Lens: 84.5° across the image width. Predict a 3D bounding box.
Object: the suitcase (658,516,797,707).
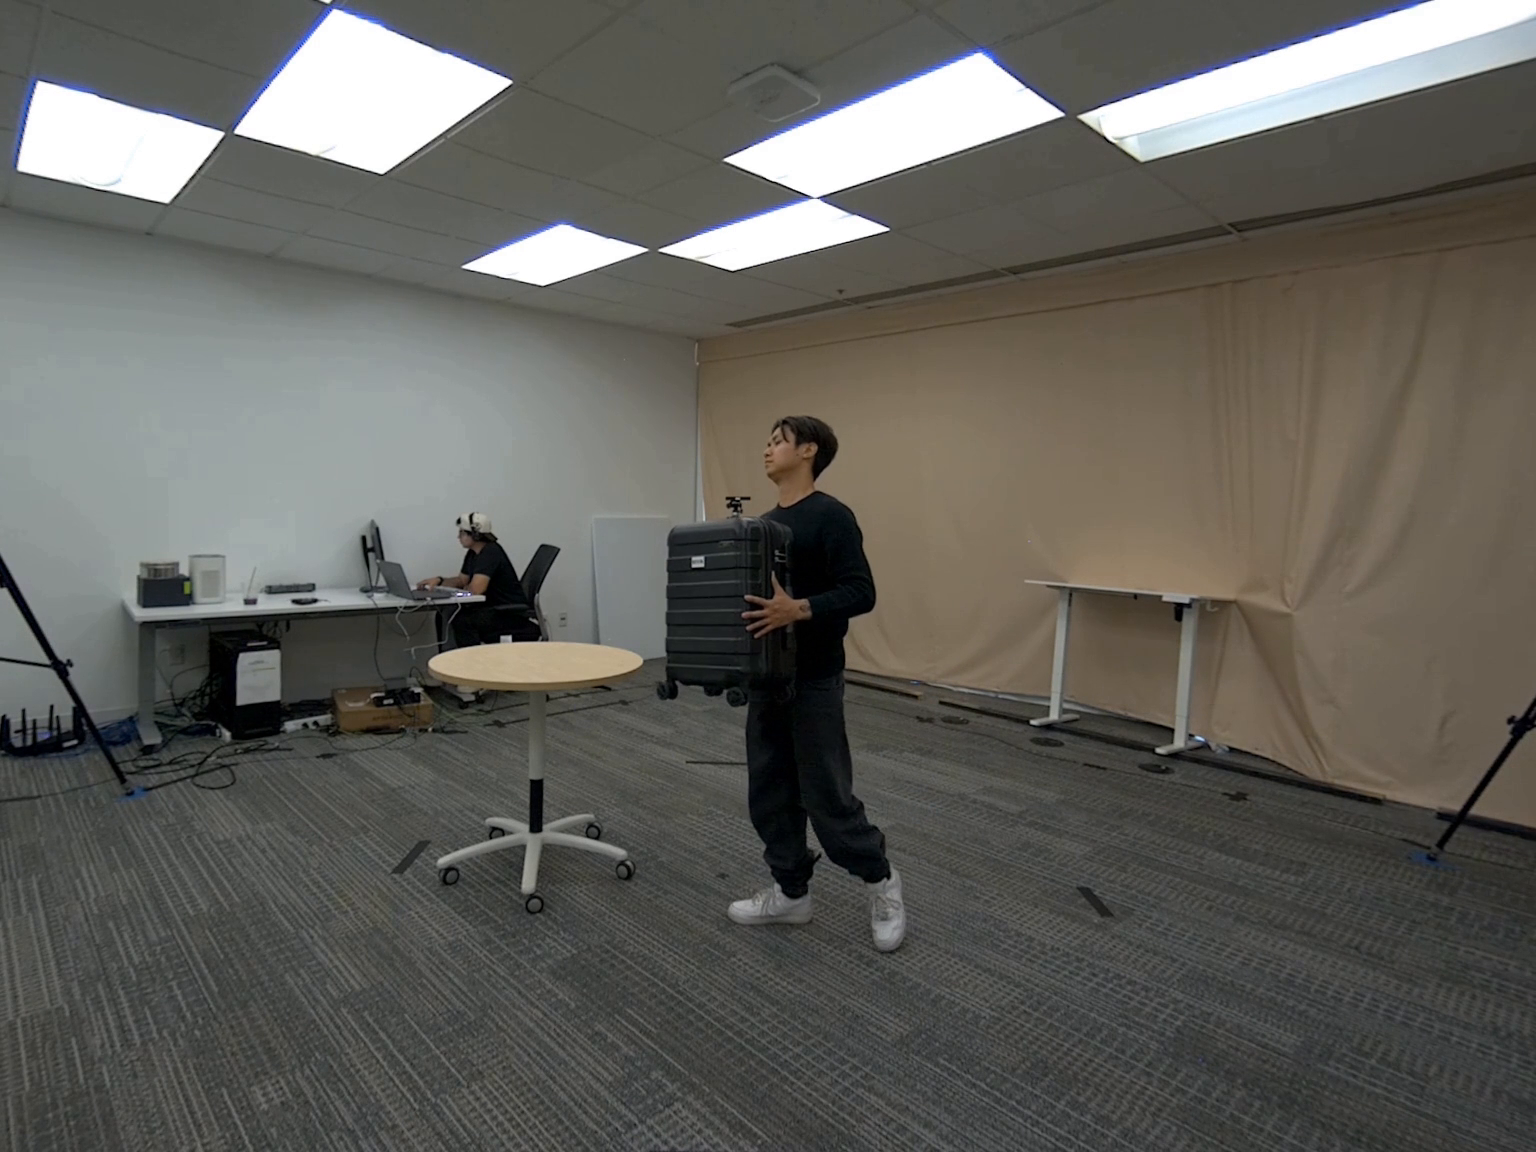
[{"bbox_3d":[-0.118,0.101,2.539,0.384,0.551,0.242,-3,-4,42],"label":"suitcase"}]
